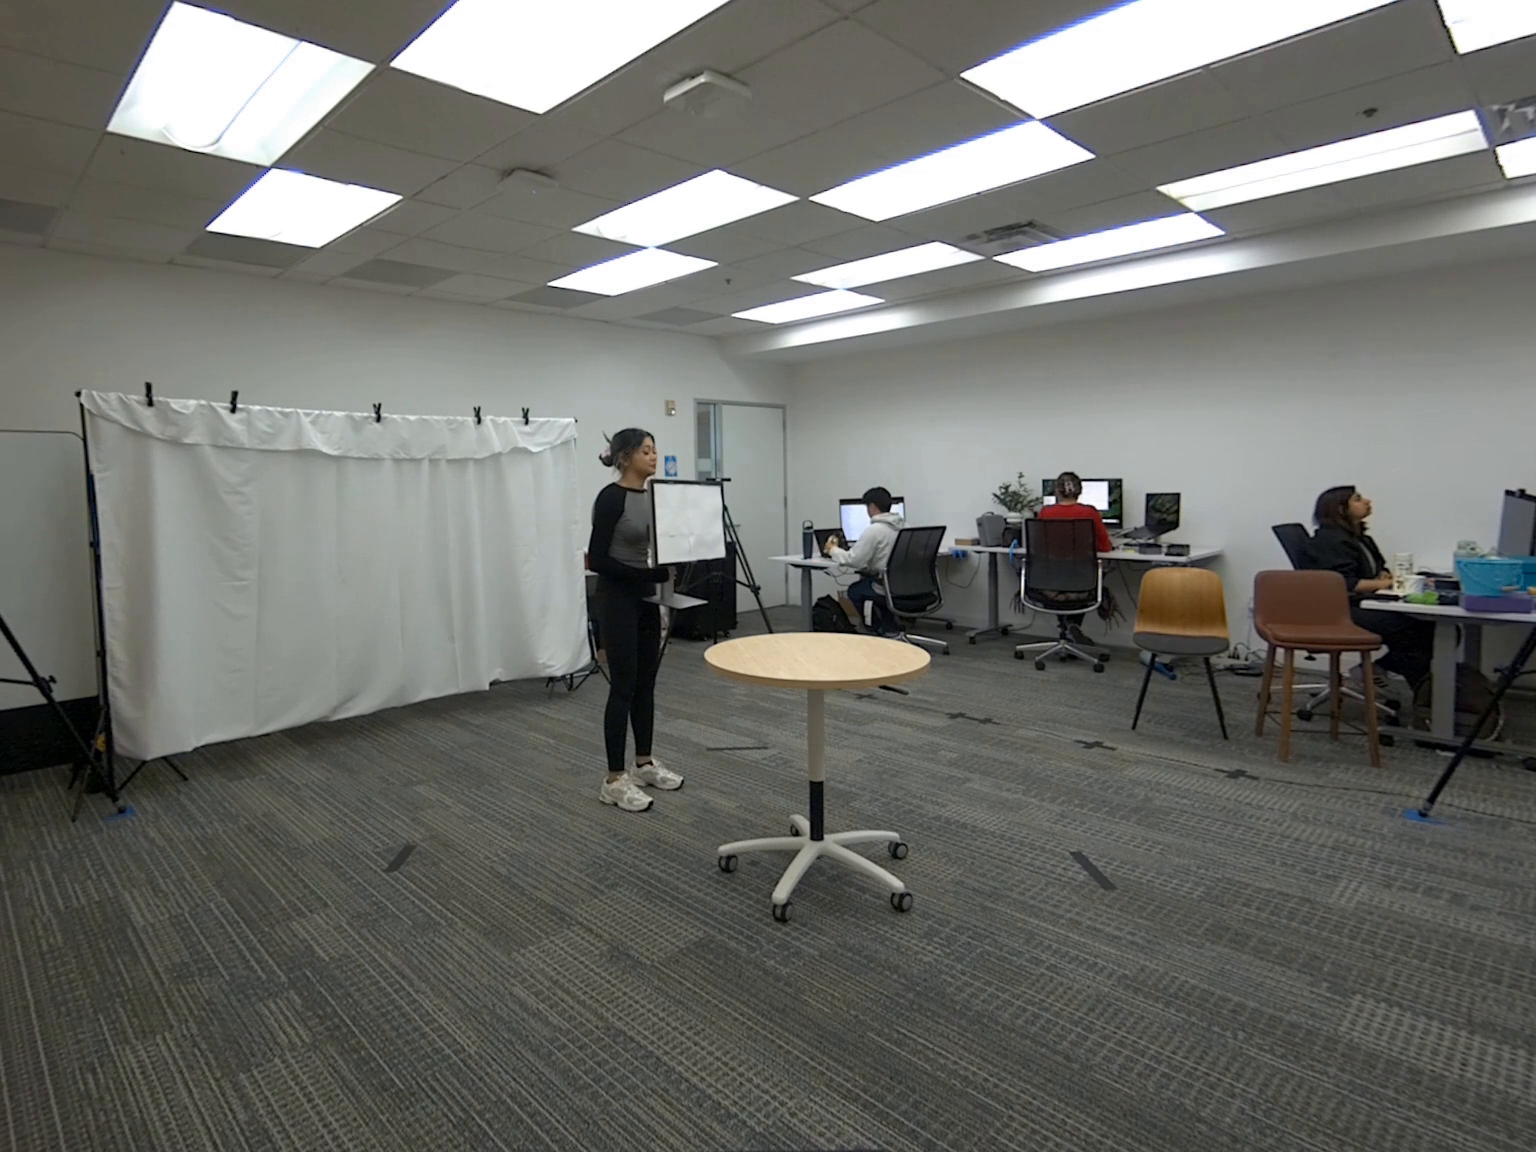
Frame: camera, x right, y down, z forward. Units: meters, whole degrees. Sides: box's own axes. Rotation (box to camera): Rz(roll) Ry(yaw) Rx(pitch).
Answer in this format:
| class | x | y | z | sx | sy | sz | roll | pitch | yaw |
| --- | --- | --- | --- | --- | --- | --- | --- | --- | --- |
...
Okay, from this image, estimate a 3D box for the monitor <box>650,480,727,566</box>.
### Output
| class | x | y | z | sx | sy | sz | roll | pitch | yaw |
| --- | --- | --- | --- | --- | --- | --- | --- | --- | --- |
| monitor | -0.384 | -0.146 | 3.733 | 0.192 | 0.520 | 0.527 | 9 | 7 | 26 |
